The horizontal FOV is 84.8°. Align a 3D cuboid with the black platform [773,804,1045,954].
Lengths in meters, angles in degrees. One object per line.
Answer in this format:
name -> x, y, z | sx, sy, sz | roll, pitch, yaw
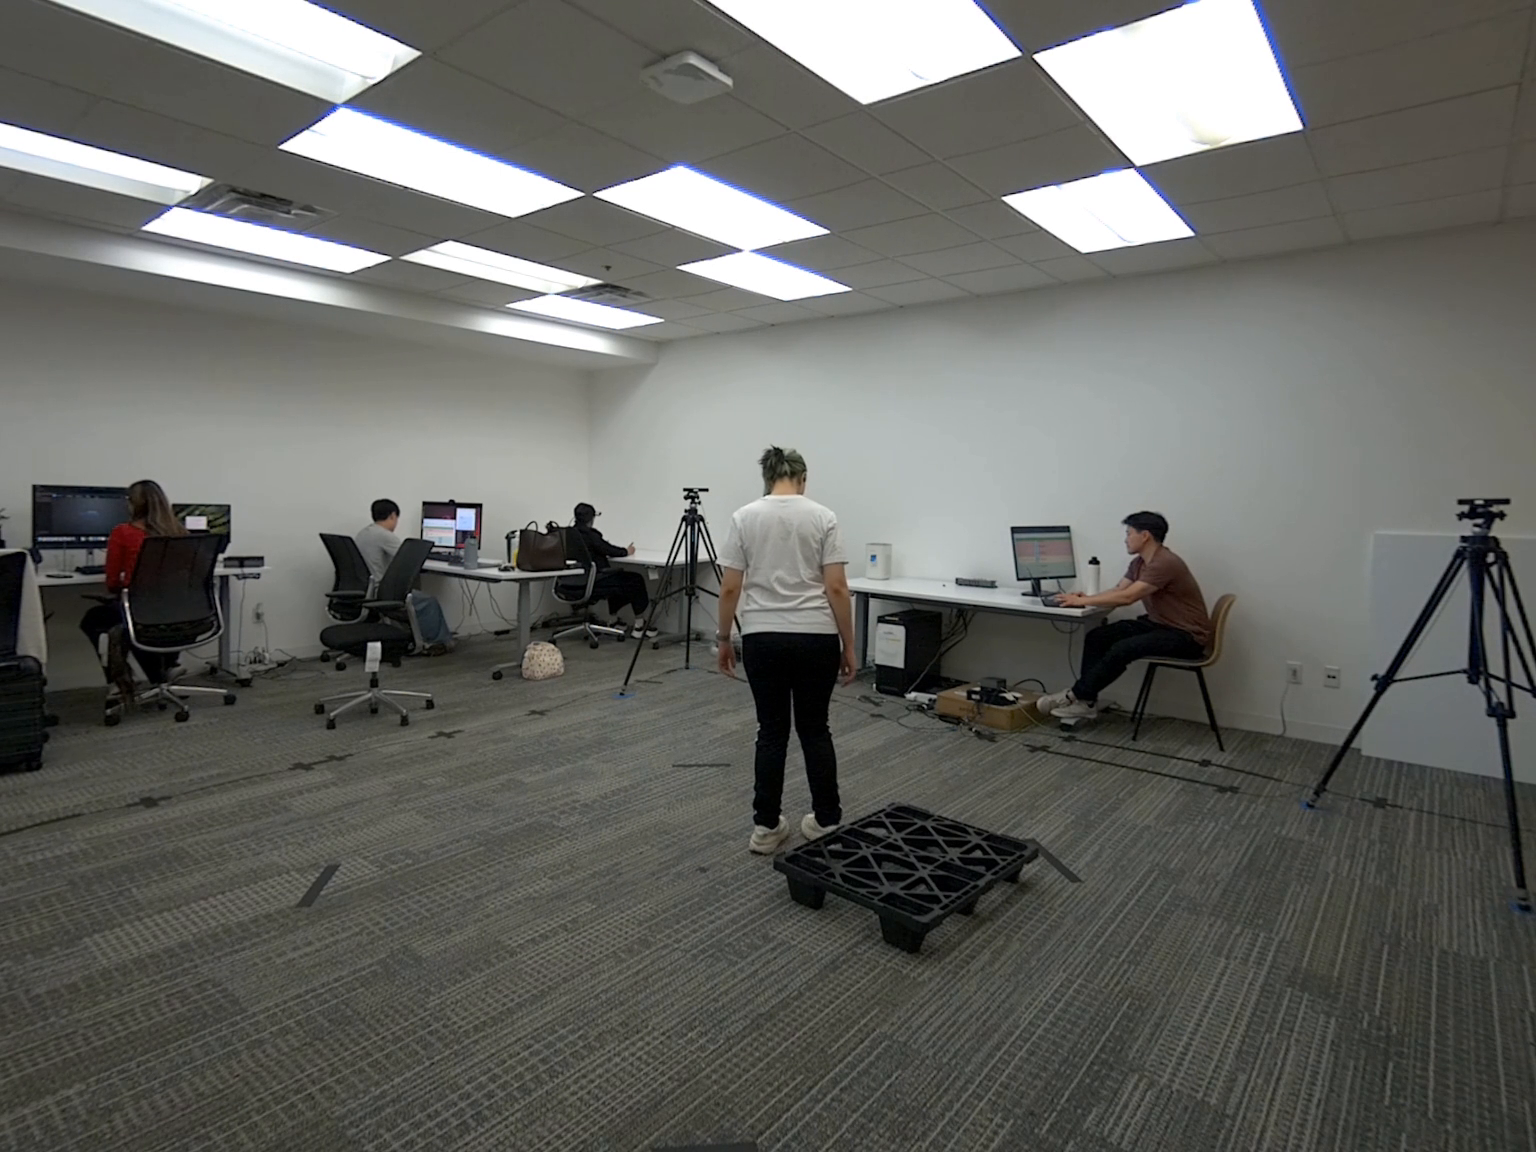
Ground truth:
black platform -> 0.484, 1.032, 2.985 | 0.626, 0.143, 0.781 | 6, 7, 42
